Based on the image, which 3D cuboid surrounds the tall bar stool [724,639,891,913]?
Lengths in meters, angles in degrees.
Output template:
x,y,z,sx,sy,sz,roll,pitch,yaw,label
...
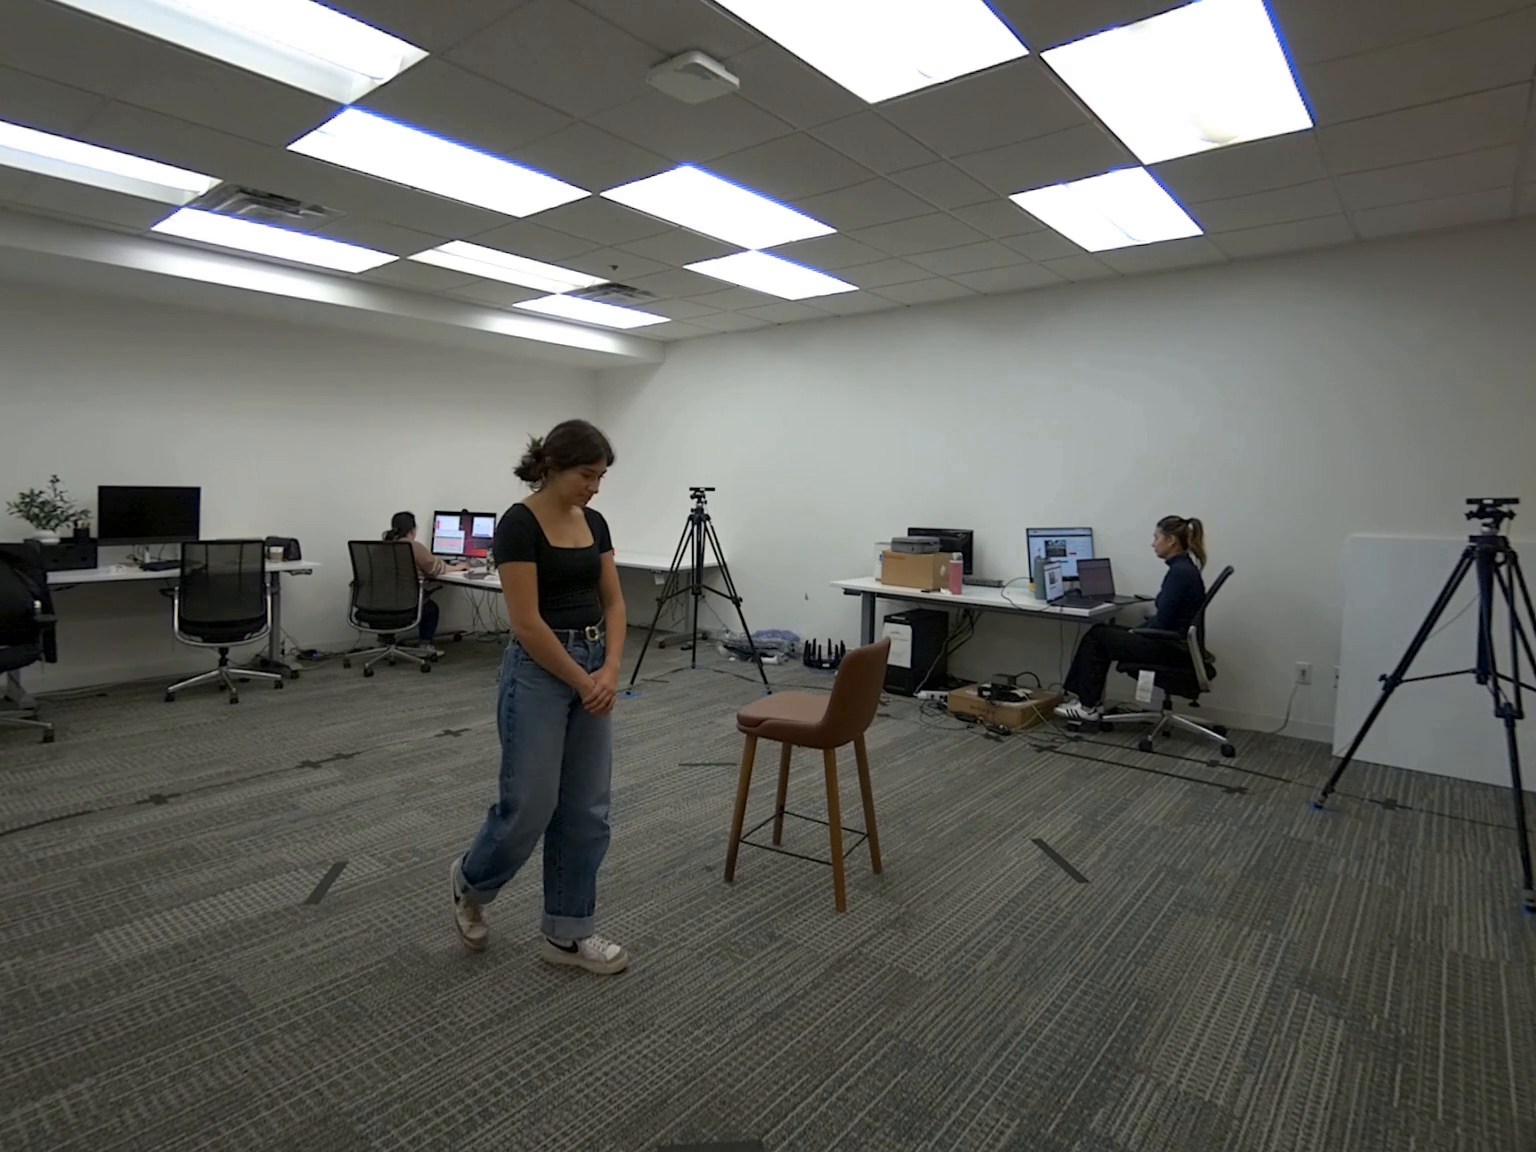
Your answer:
x,y,z,sx,sy,sz,roll,pitch,yaw,label
0.145,0.646,3.050,0.482,0.887,0.444,5,5,30,tall bar stool
